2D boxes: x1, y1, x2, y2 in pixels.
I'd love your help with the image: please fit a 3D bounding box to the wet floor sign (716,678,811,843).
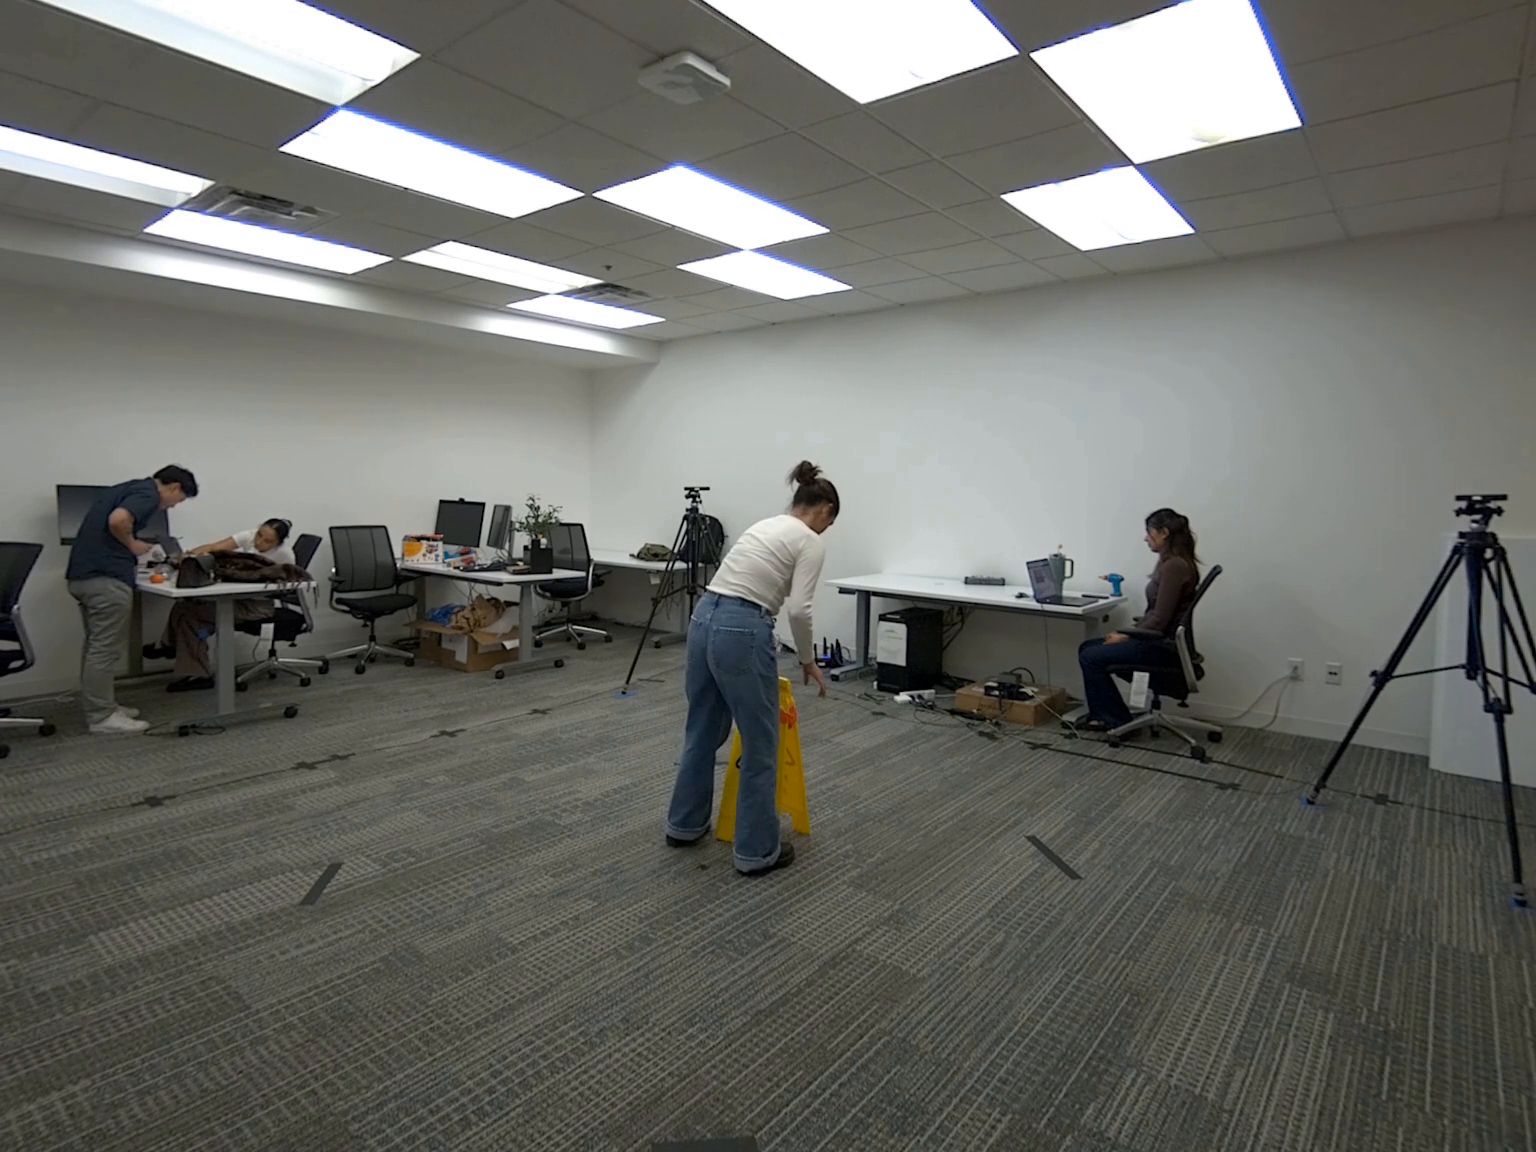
[{"bbox_3d":[-0.024,0.711,3.396,0.291,0.645,0.281,2,2,36],"label":"wet floor sign"}]
